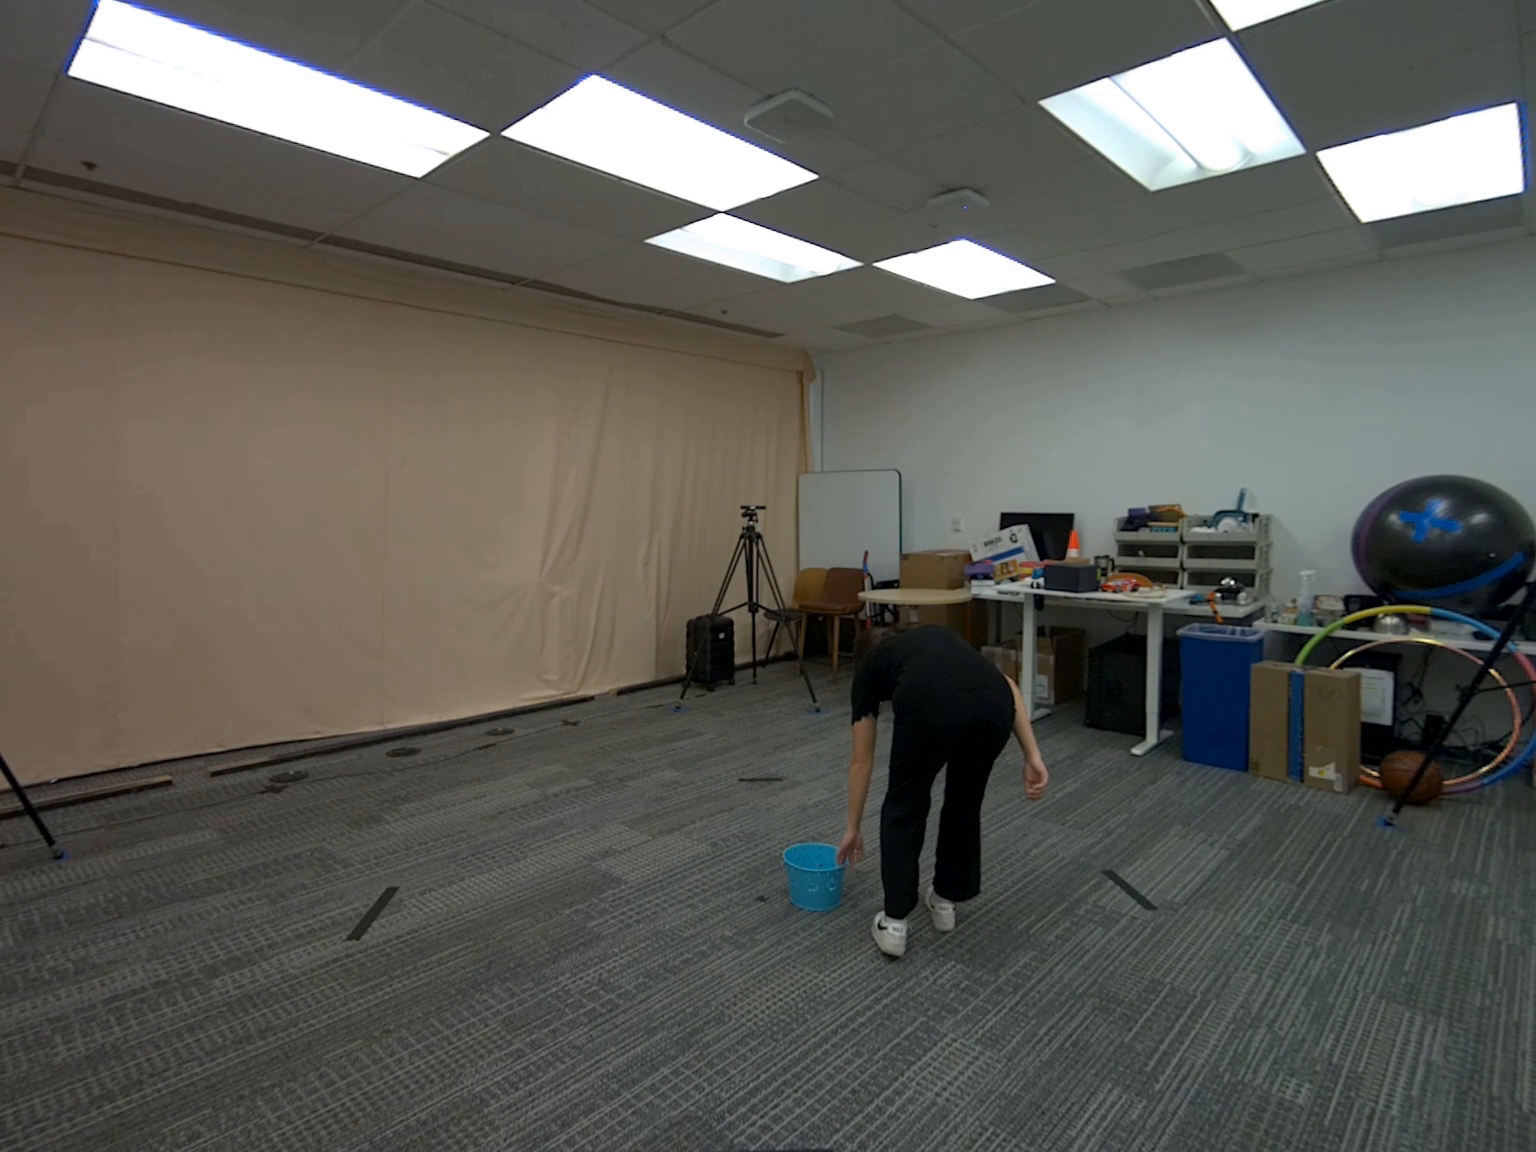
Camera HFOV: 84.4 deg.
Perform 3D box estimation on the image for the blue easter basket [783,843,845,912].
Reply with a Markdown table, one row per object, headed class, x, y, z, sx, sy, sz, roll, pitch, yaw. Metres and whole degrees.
| class | x | y | z | sx | sy | sz | roll | pitch | yaw |
| --- | --- | --- | --- | --- | --- | --- | --- | --- | --- |
| blue easter basket | 0.173 | 1.063 | 2.985 | 0.243 | 0.155 | 0.244 | 0 | 4 | -2 |
